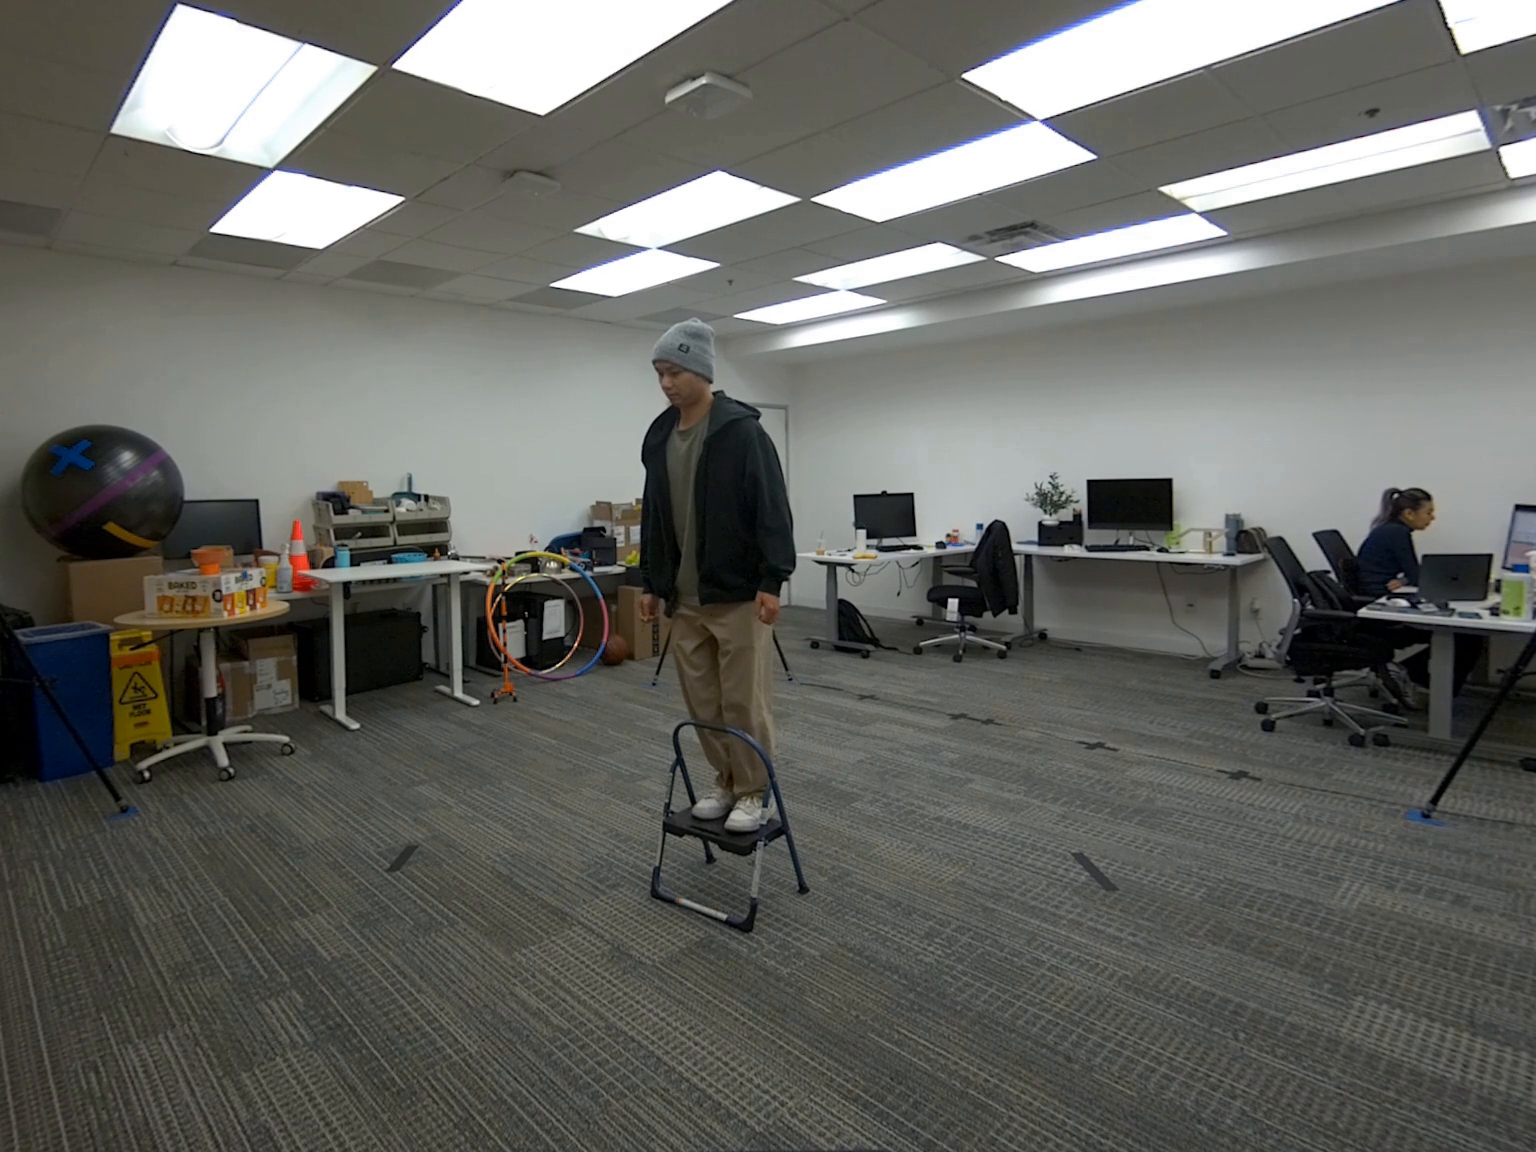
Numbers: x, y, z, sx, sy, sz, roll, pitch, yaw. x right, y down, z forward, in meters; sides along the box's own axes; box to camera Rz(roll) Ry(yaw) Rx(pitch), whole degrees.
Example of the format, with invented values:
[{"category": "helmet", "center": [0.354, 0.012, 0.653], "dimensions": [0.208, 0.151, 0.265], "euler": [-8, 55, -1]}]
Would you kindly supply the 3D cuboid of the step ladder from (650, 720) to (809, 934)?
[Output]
[{"category": "step ladder", "center": [-0.138, 0.775, 2.864], "dimensions": [0.443, 0.603, 0.341], "euler": [2, 6, 35]}]
